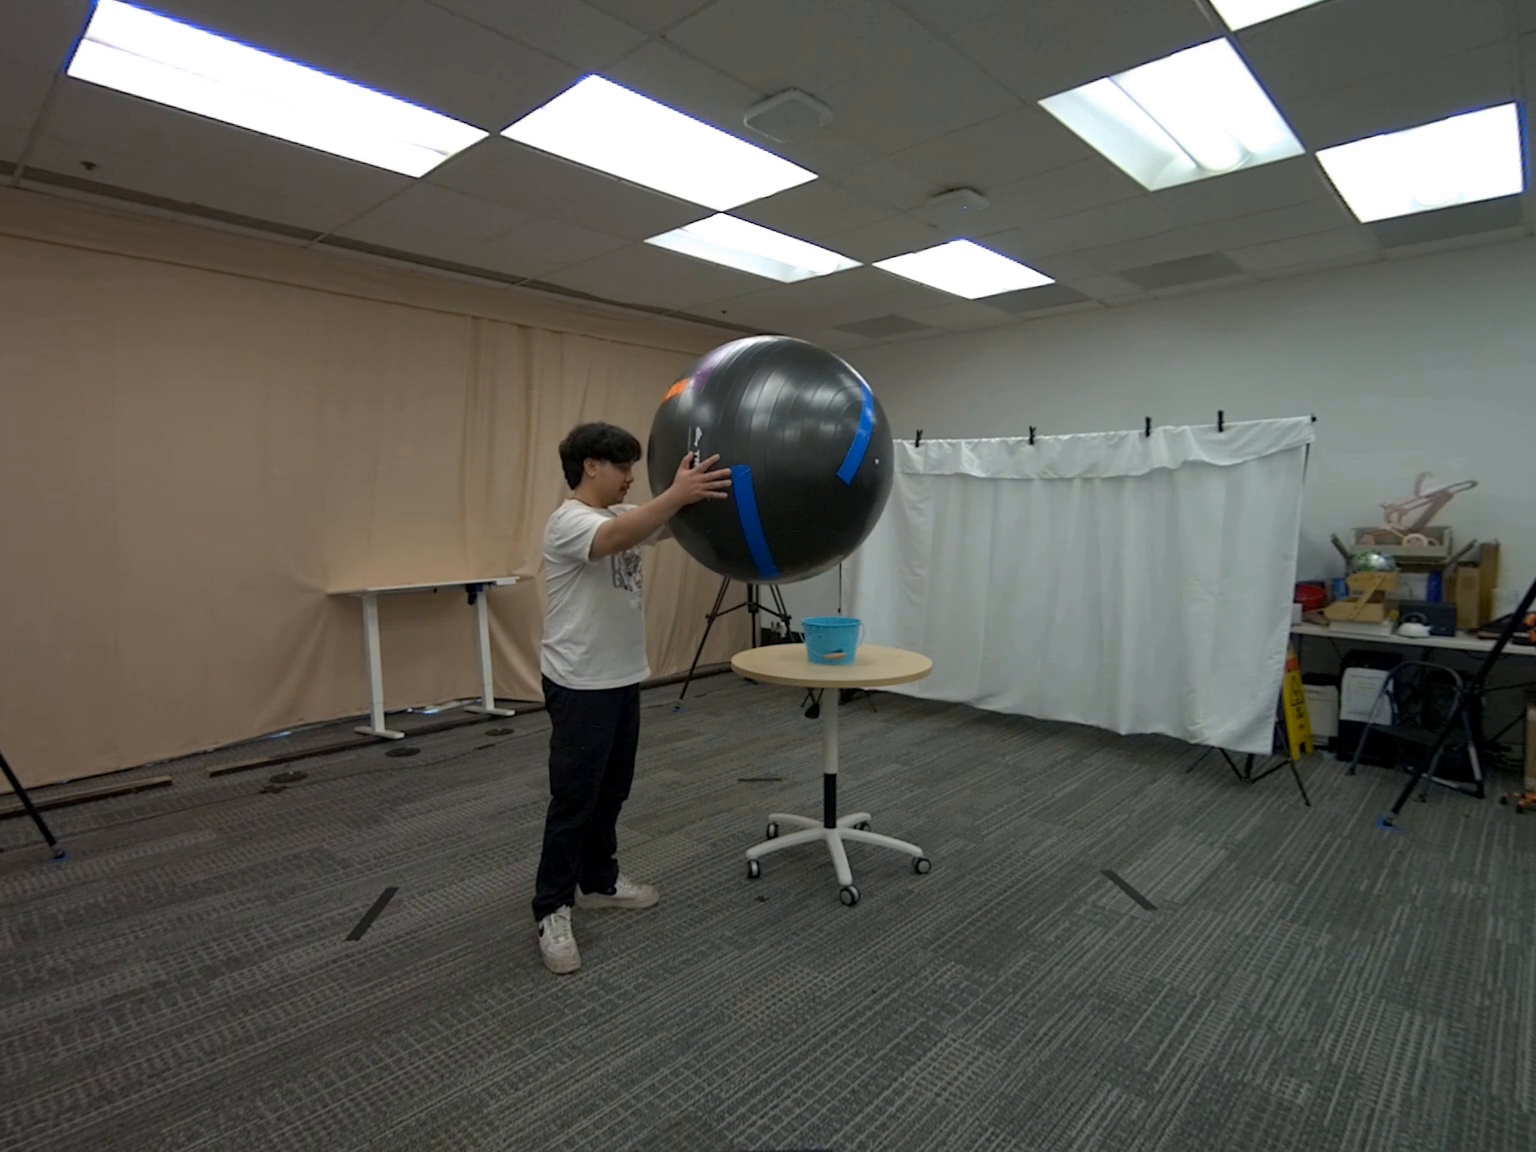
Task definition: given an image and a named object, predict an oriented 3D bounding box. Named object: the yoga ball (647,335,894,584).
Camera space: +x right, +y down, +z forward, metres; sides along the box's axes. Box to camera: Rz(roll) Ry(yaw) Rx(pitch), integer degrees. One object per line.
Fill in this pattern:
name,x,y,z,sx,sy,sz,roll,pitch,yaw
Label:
yoga ball,0.009,-0.343,2.605,0.757,0.756,0.761,0,4,-2
